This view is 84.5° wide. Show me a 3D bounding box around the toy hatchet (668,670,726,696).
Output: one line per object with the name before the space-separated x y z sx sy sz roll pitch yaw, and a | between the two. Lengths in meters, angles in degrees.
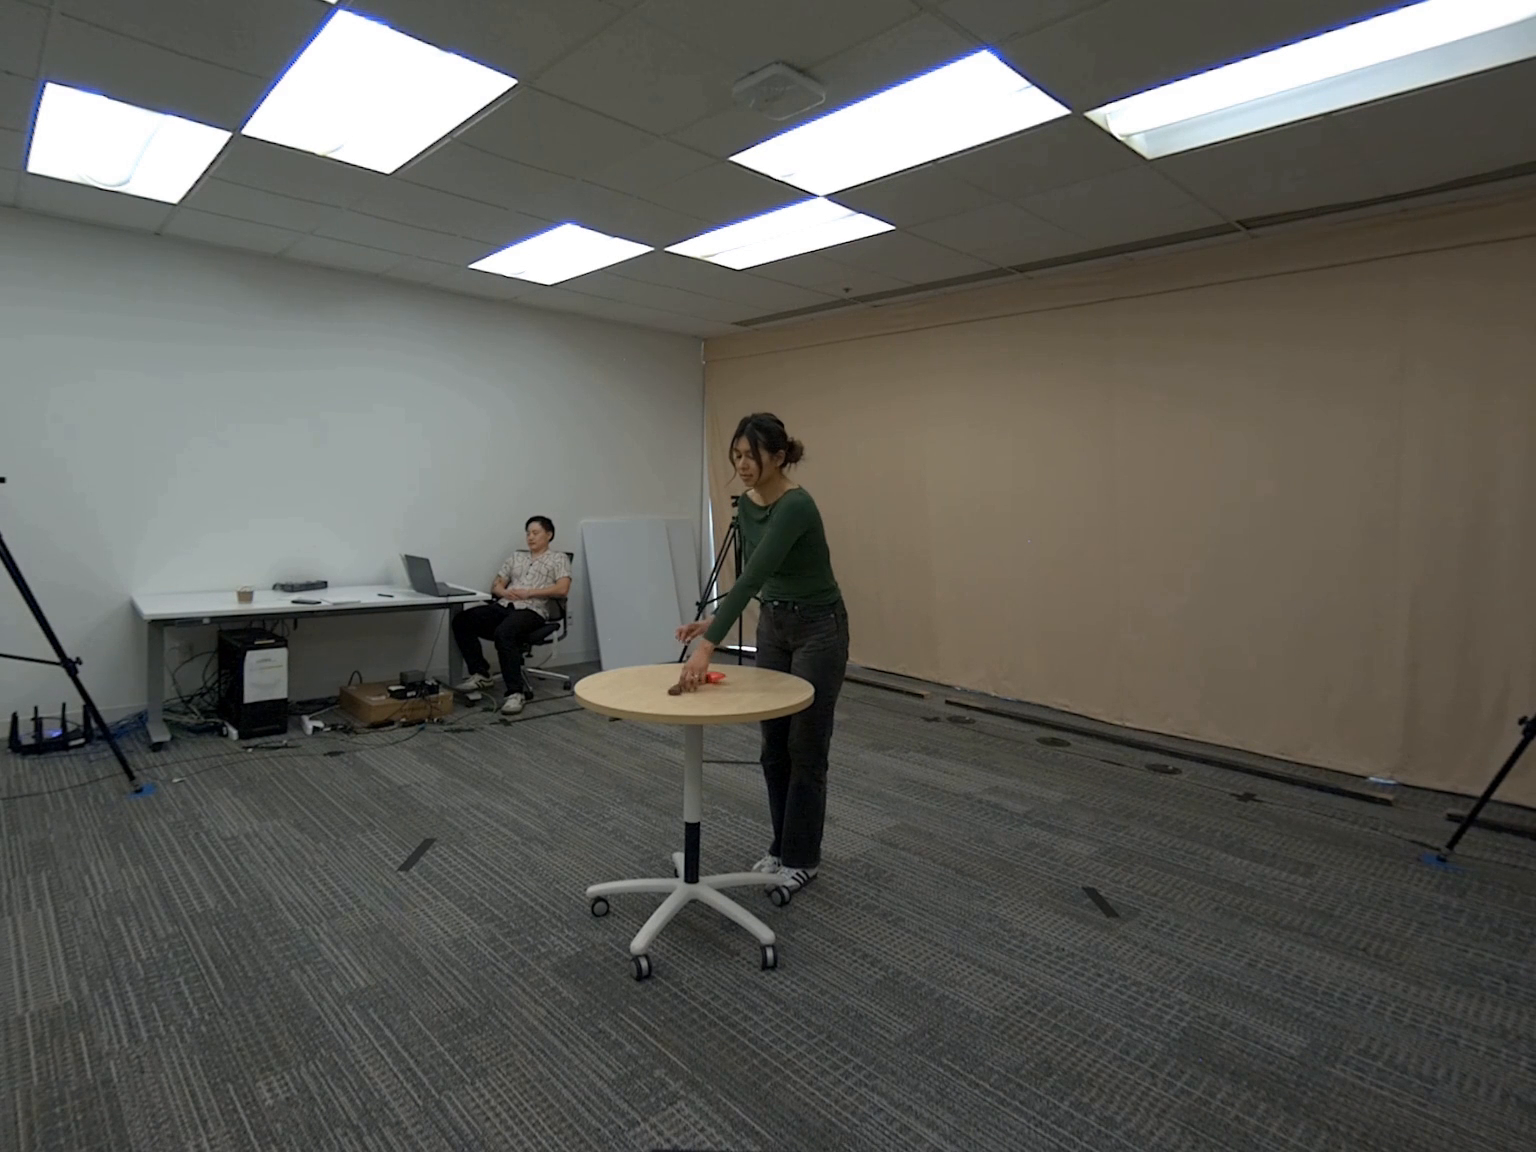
toy hatchet | -0.225 0.345 2.671 0.132 0.029 0.268 -2 5 11
